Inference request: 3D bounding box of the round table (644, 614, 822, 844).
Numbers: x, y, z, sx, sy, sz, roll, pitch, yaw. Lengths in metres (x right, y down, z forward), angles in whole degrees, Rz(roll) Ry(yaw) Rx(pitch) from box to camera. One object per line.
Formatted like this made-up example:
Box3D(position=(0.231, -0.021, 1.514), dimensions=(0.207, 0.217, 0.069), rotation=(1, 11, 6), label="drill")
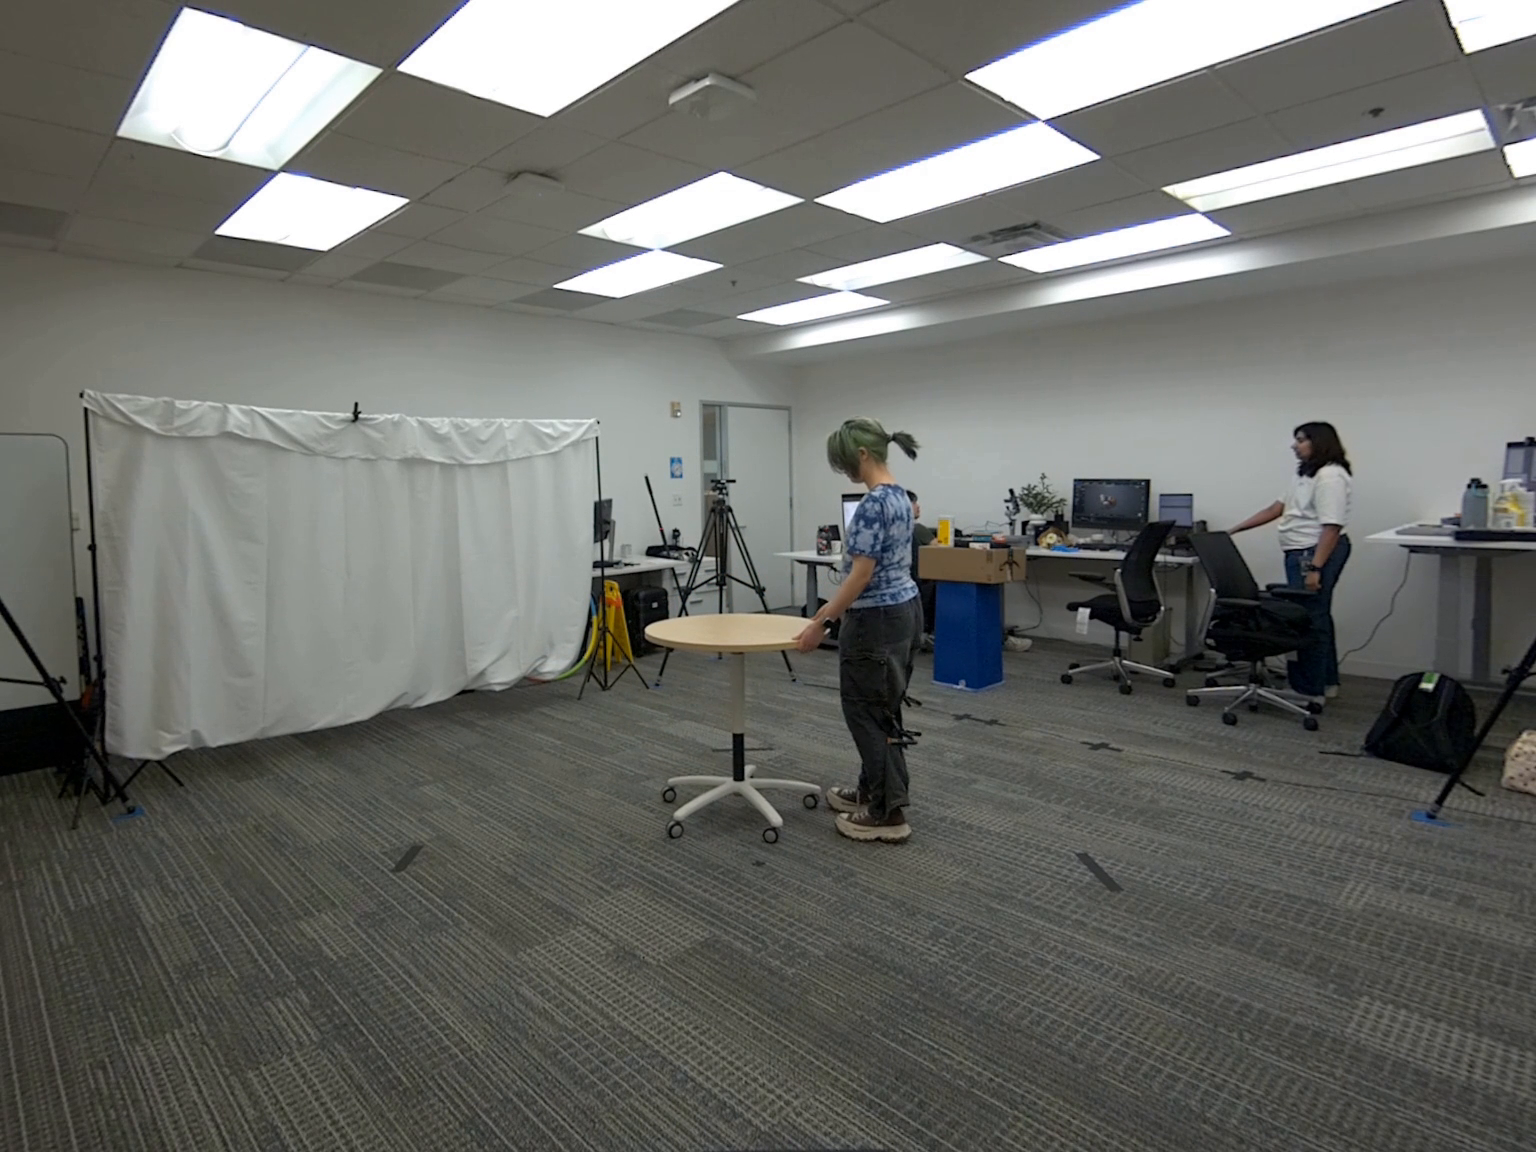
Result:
Box3D(position=(-0.133, 0.608, 3.564), dimensions=(0.763, 0.791, 0.767), rotation=(-1, 4, -2), label="round table")
